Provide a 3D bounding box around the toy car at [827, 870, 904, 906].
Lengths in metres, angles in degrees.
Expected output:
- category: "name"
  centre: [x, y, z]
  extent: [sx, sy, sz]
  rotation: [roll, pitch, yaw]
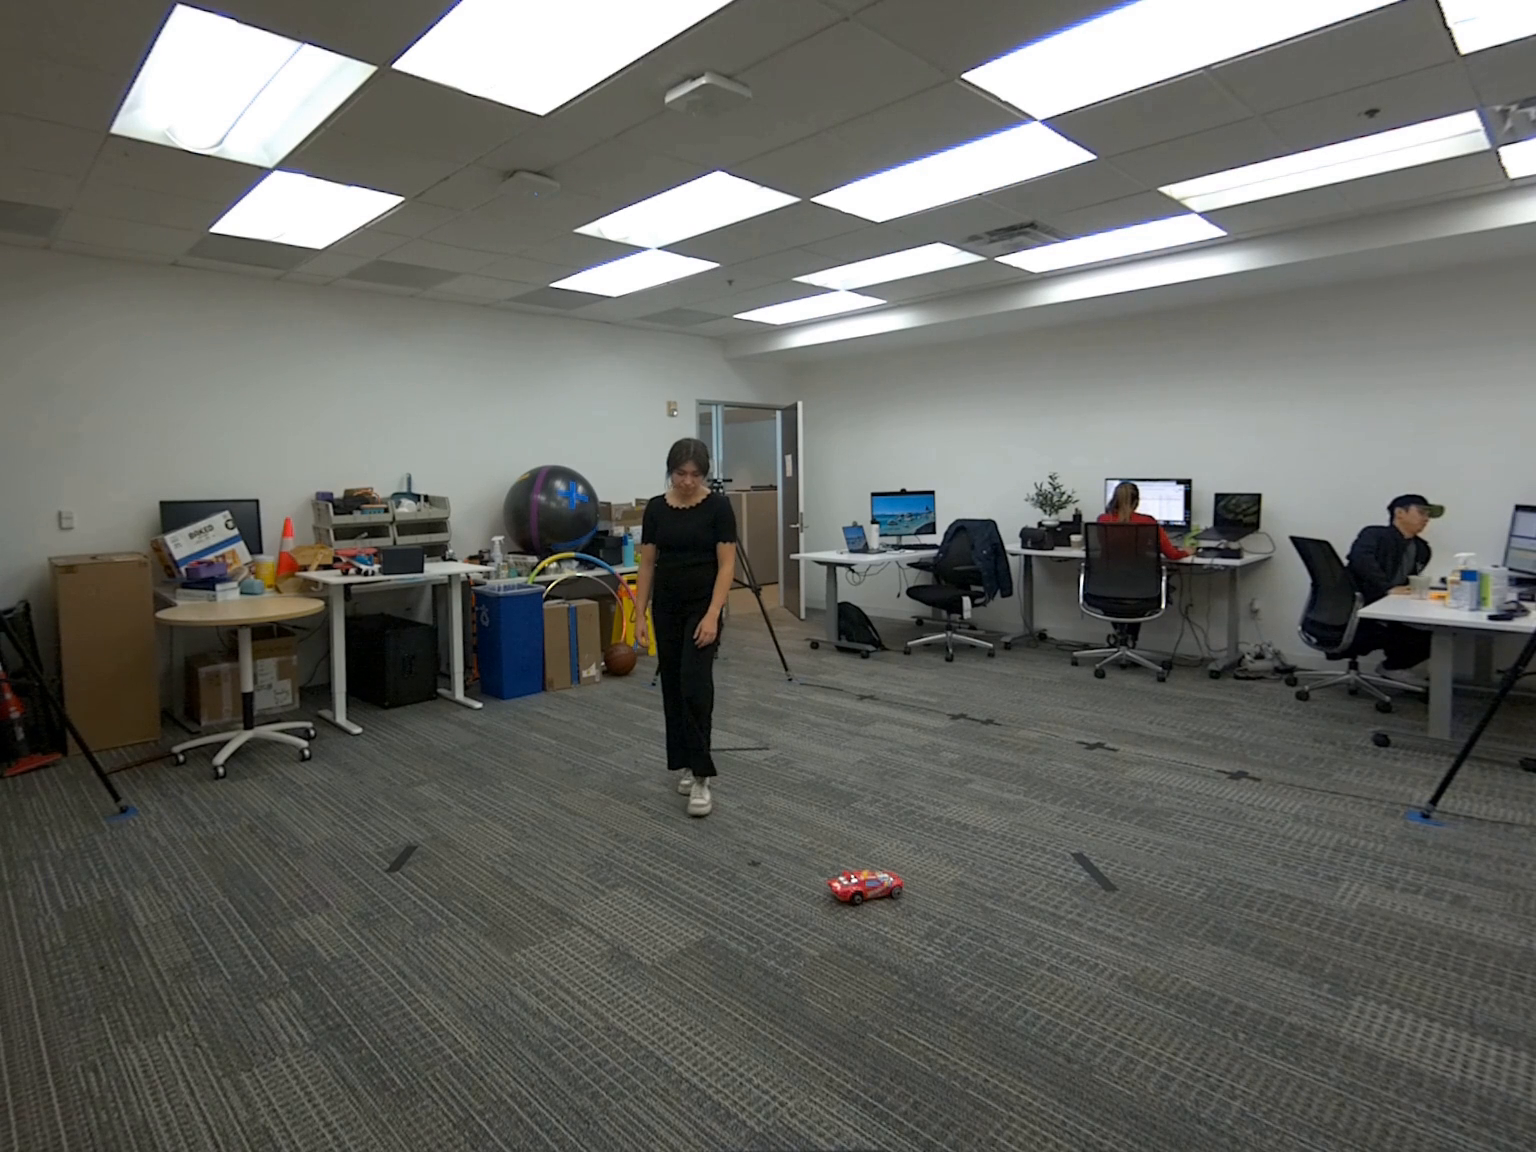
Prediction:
- category: "toy car"
  centre: [0.324, 1.037, 2.846]
  extent: [0.250, 0.083, 0.133]
  rotation: [8, 2, -18]
